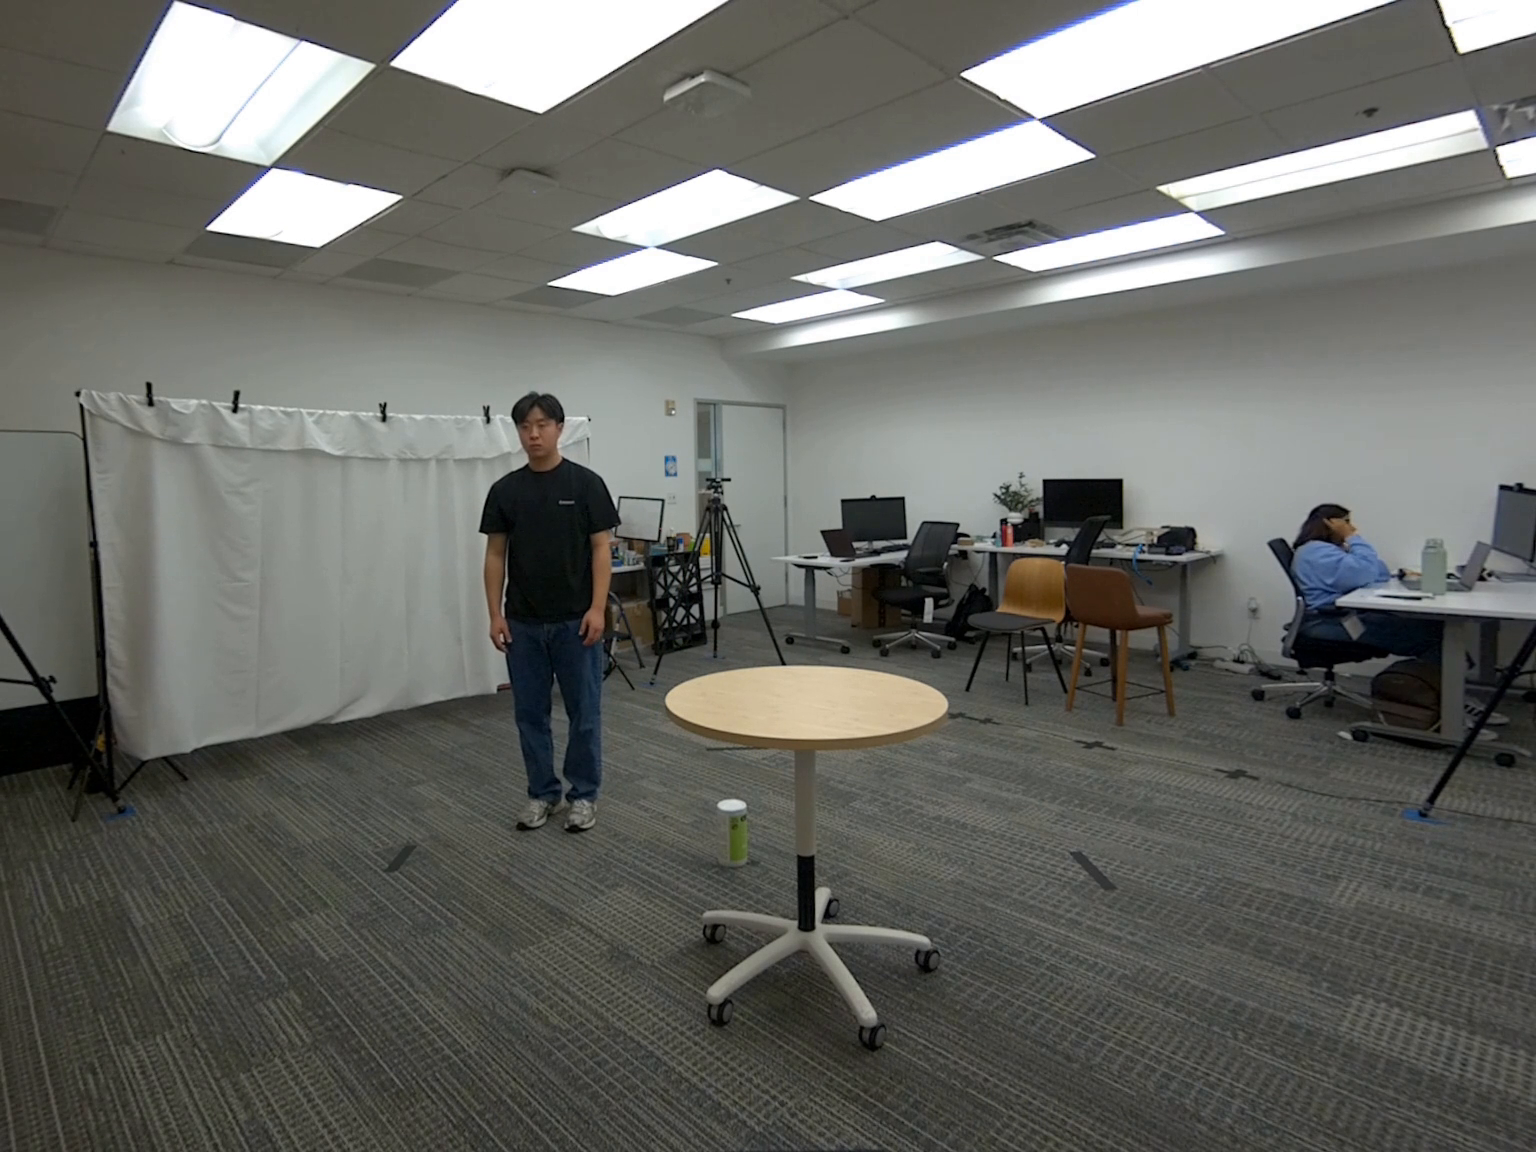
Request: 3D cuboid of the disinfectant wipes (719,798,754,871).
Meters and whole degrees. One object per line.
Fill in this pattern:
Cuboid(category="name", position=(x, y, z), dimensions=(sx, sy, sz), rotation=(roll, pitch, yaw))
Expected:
Cuboid(category="disinfectant wipes", position=(-0.119, 0.935, 3.109), dimensions=(0.118, 0.217, 0.118), rotation=(-1, 3, -2))
